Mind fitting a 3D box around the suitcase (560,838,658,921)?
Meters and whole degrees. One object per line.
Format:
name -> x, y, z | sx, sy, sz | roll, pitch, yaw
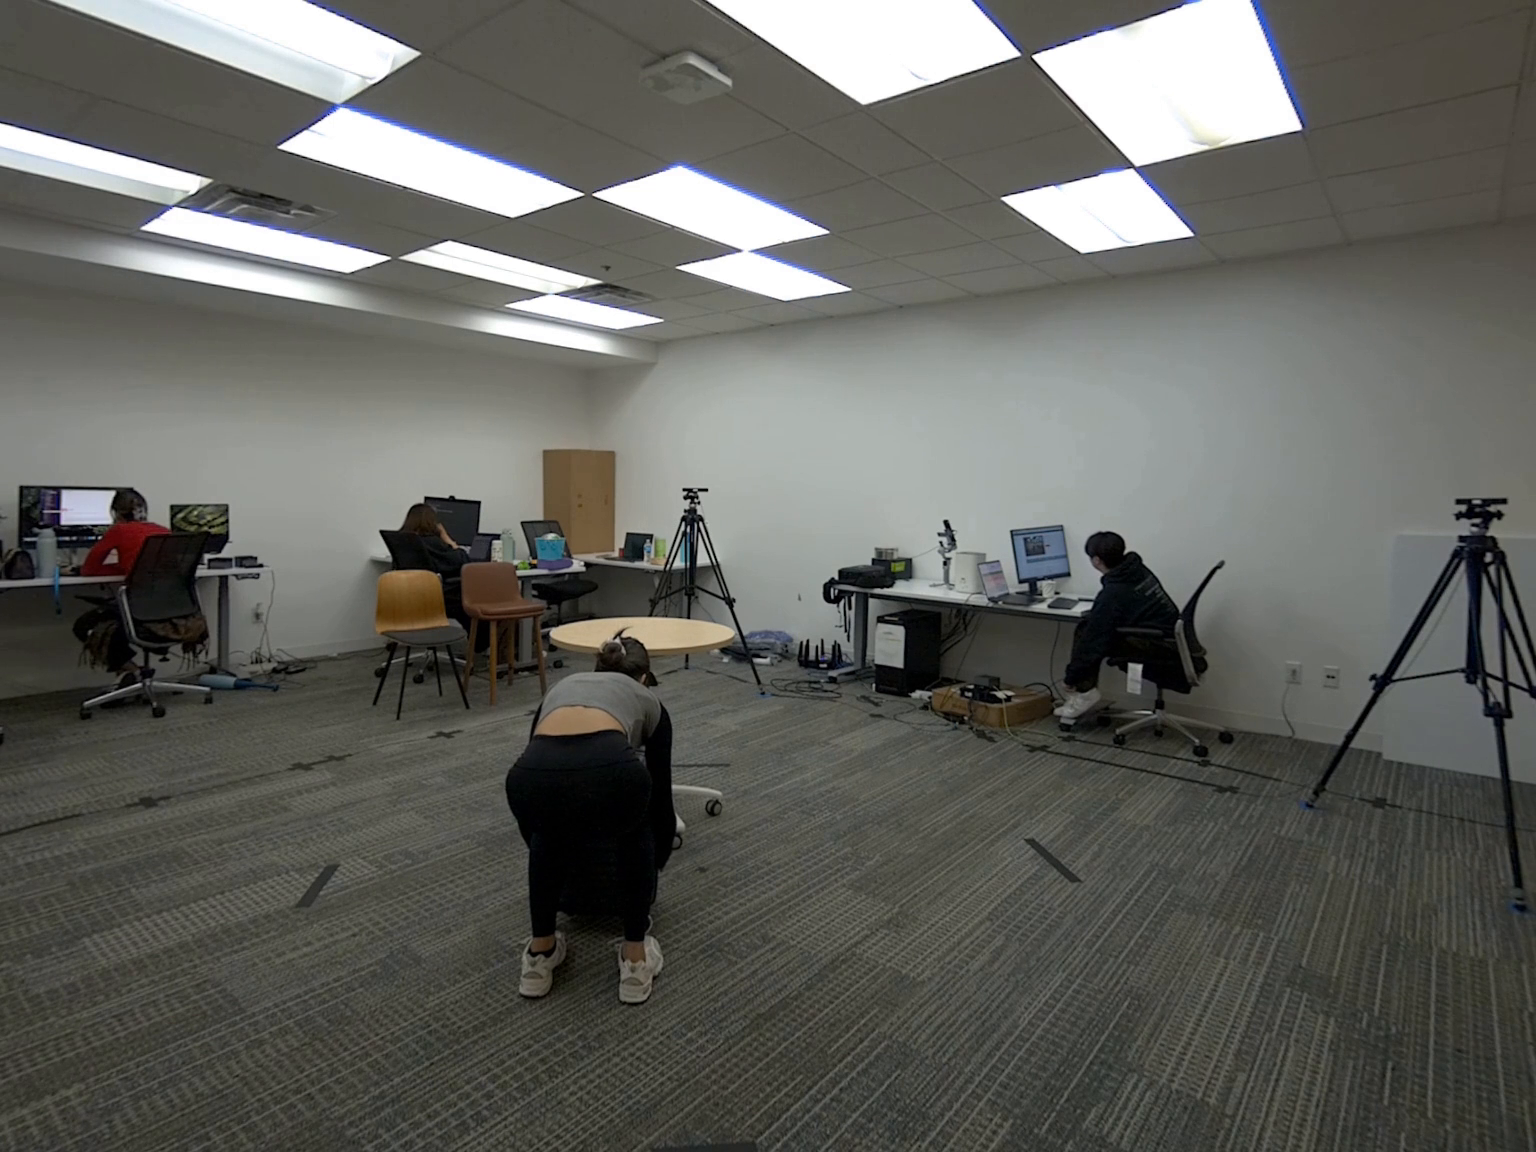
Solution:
suitcase -> -0.540, 0.823, 2.740 | 0.376, 0.547, 0.249 | 2, 4, 1
